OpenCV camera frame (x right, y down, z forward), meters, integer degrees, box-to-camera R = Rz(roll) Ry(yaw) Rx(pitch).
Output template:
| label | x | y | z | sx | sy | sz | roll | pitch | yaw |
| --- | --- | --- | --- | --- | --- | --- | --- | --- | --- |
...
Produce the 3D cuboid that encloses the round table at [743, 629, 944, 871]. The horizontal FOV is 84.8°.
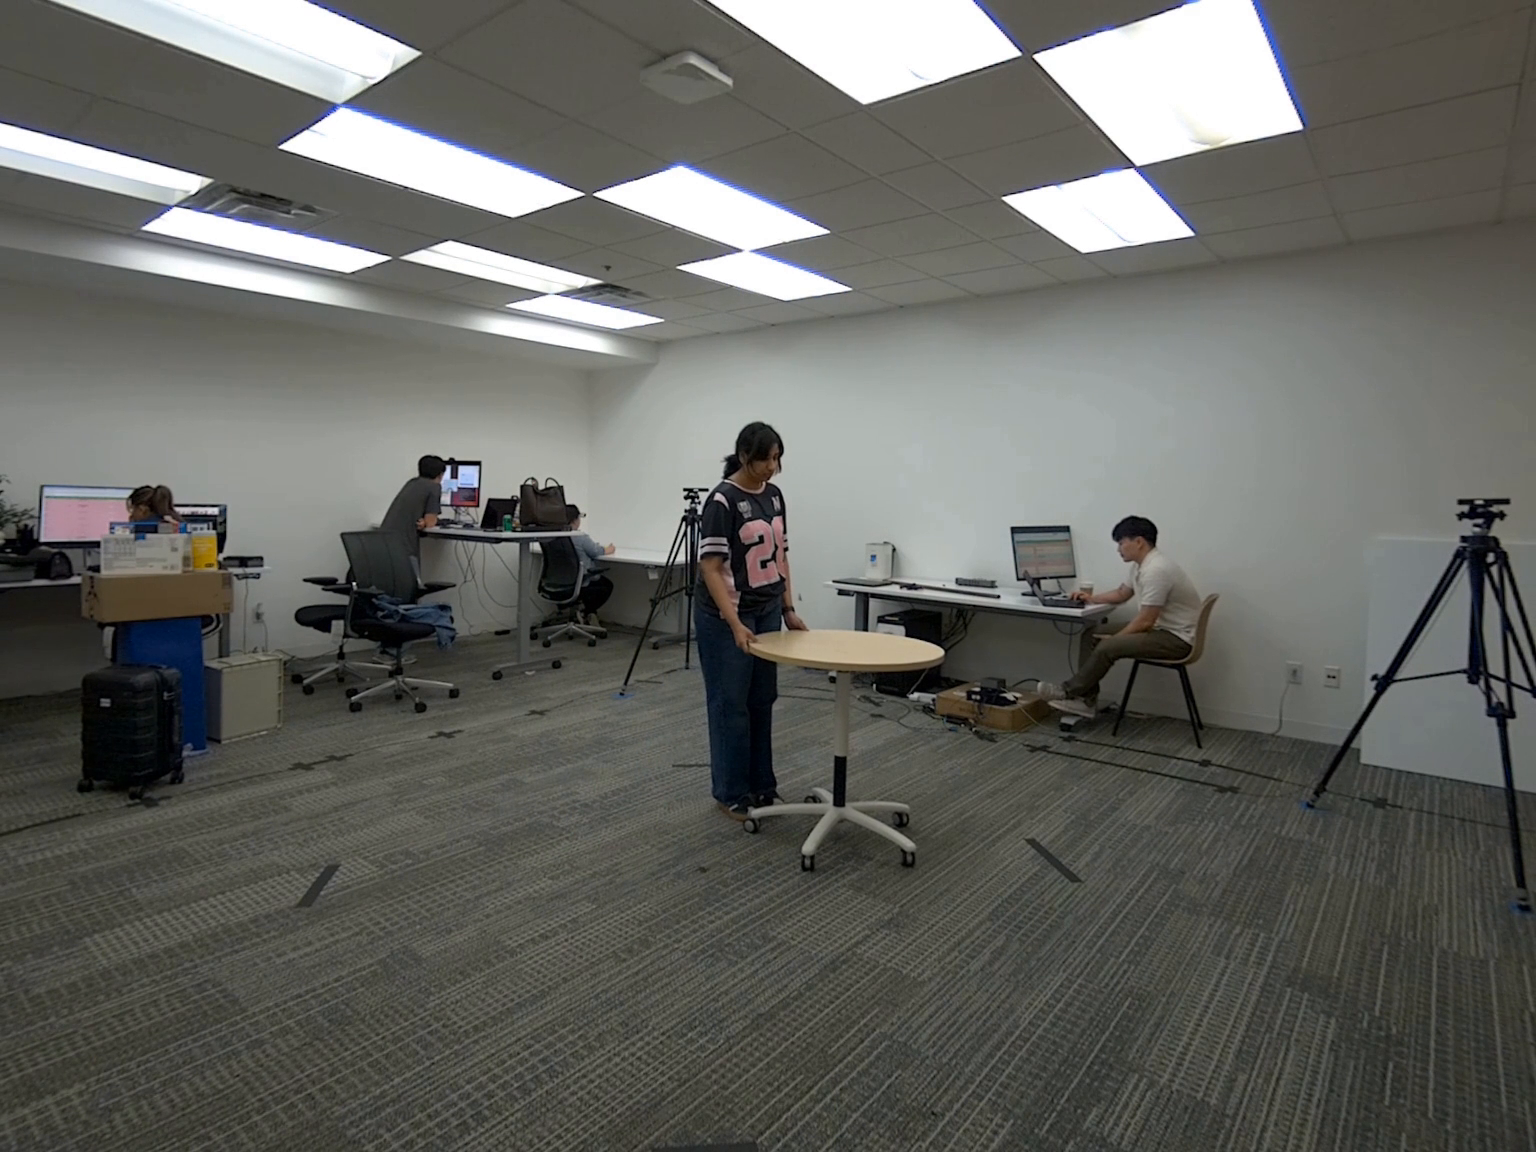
| label | x | y | z | sx | sy | sz | roll | pitch | yaw |
| --- | --- | --- | --- | --- | --- | --- | --- | --- | --- |
| round table | 0.279 | 0.662 | 3.380 | 0.763 | 0.792 | 0.767 | 2 | 4 | -2 |
